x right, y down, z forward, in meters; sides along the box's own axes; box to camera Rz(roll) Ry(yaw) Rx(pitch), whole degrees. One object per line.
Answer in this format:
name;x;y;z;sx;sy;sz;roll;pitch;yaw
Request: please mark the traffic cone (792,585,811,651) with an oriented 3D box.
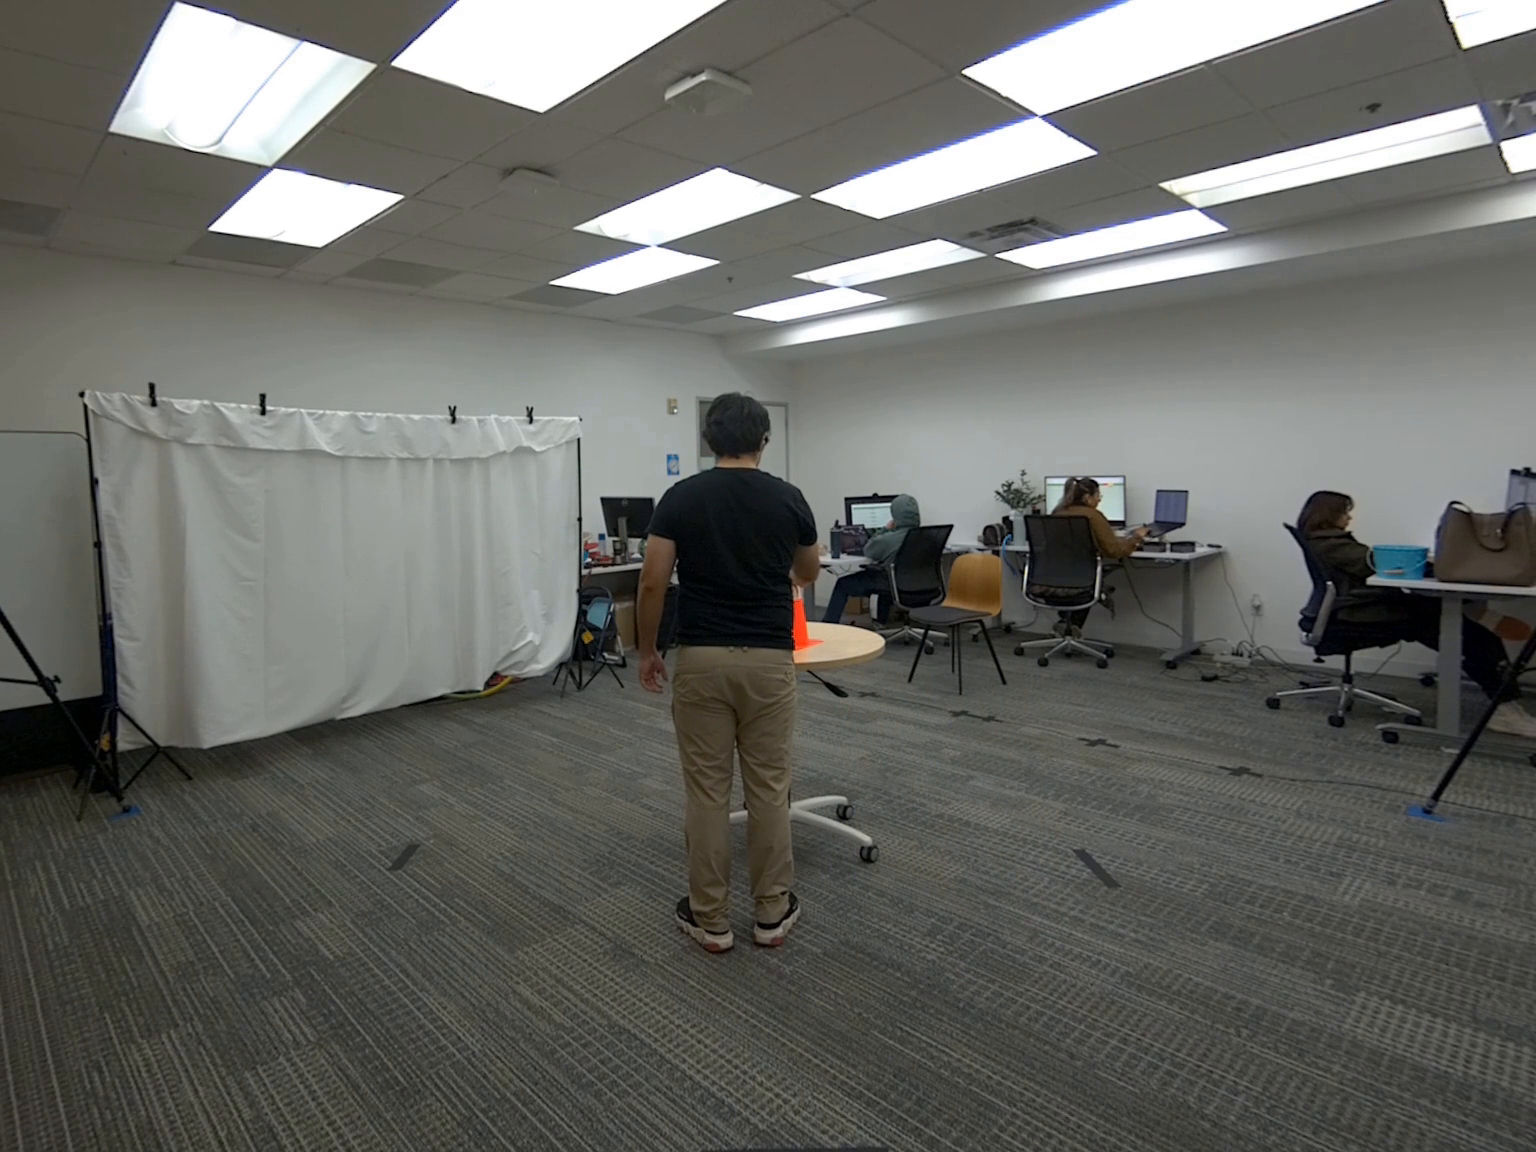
traffic cone;0.077;0.062;3.125;0.209;0.382;0.200;2;5;34
